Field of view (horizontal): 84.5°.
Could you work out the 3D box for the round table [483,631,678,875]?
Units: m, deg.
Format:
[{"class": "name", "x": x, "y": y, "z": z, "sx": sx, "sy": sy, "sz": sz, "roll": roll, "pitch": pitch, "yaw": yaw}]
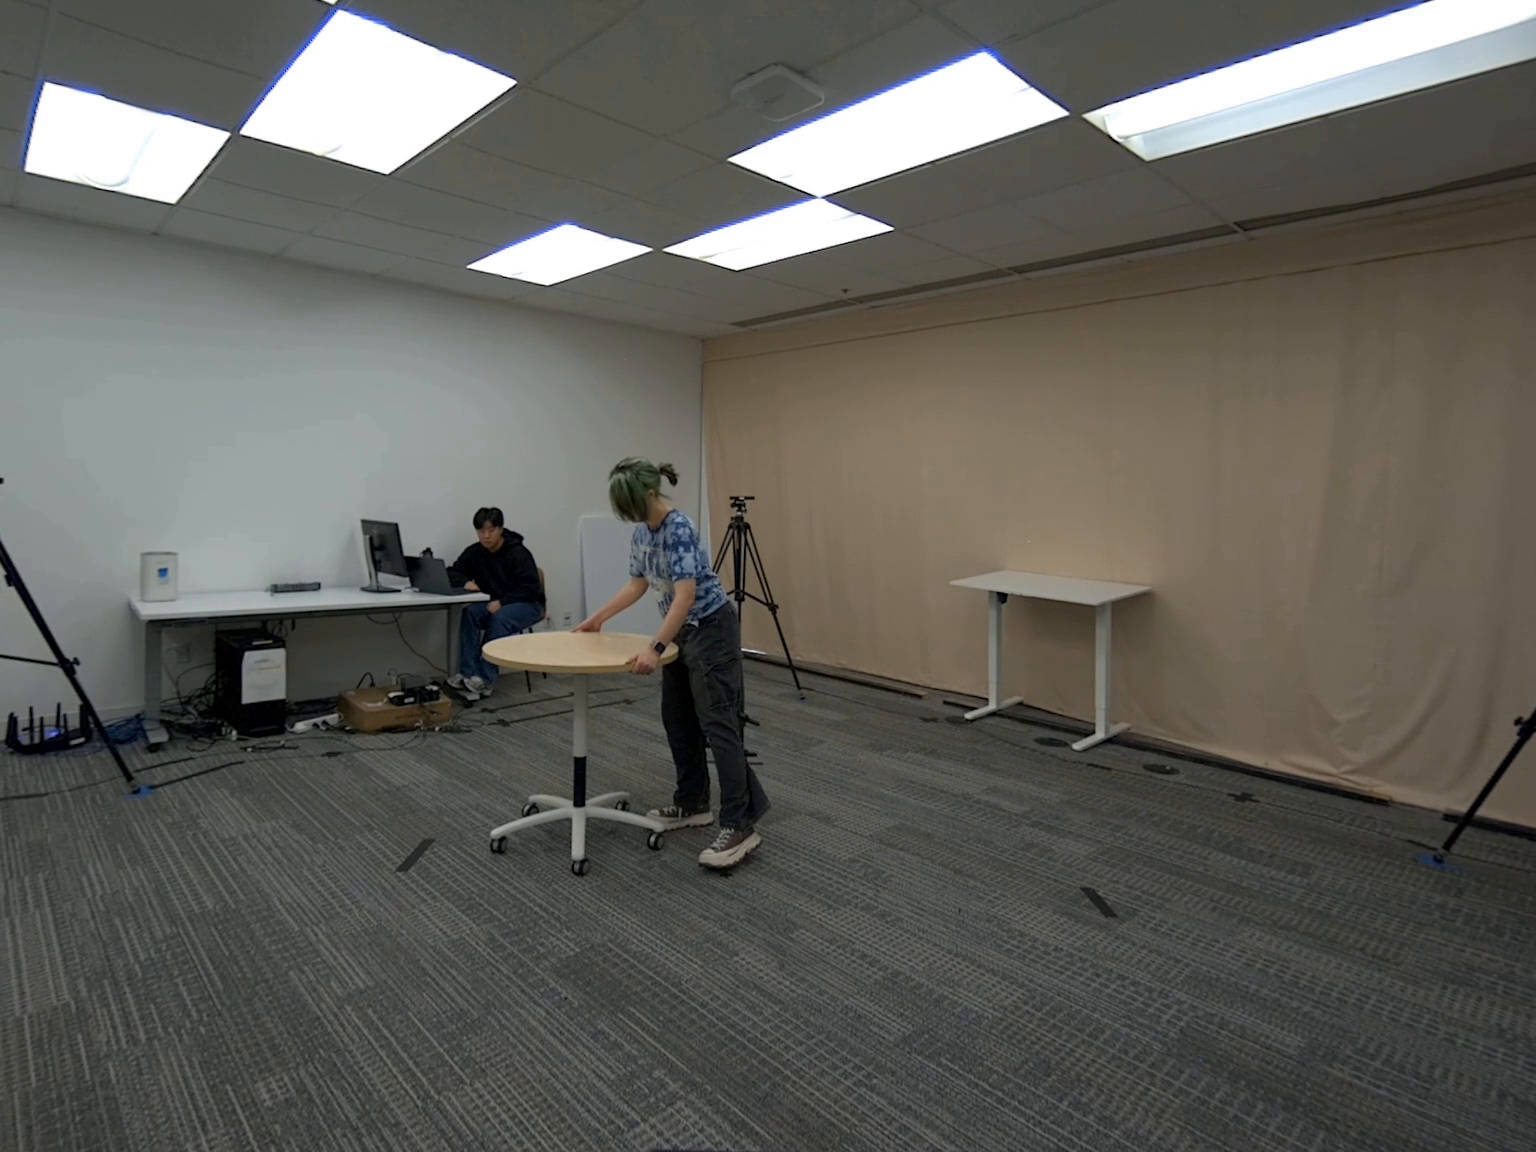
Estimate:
[{"class": "round table", "x": -0.758, "y": 0.677, "z": 3.365, "sx": 0.763, "sy": 0.792, "sz": 0.766, "roll": 1, "pitch": 4, "yaw": -1}]
